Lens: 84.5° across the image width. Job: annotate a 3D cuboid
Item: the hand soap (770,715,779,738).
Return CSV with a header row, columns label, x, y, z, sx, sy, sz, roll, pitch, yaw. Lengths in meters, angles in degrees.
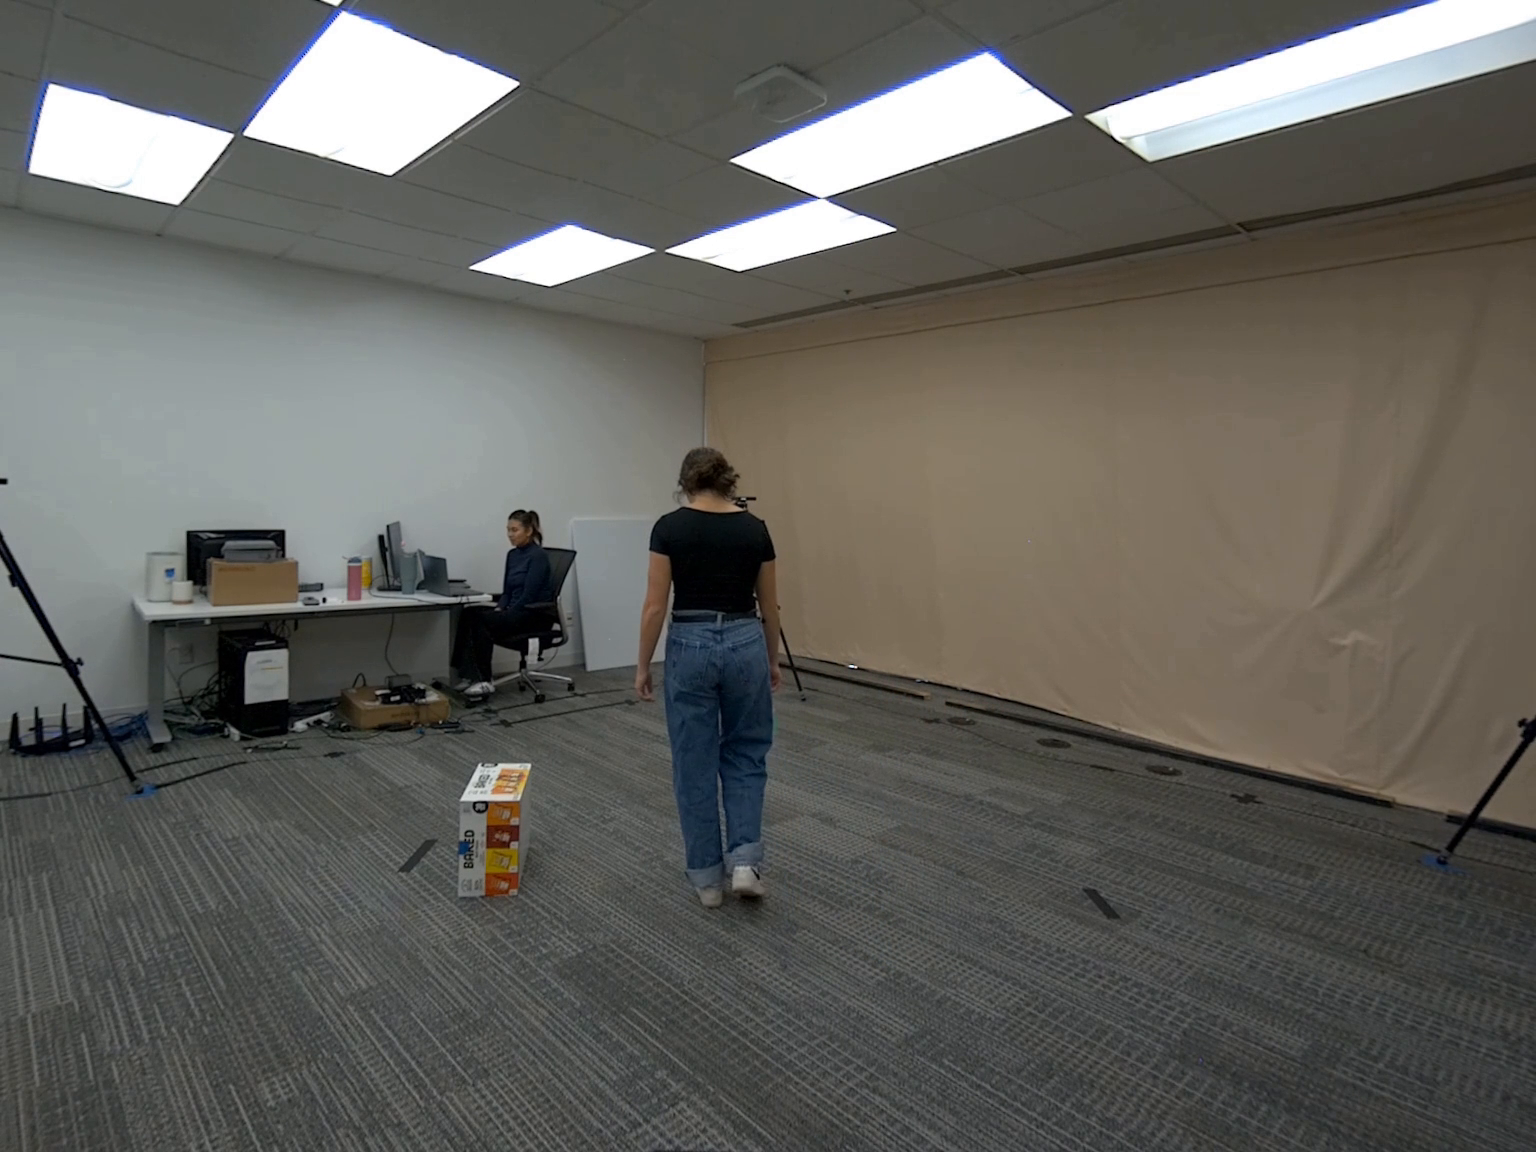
label,x,y,z,sx,sy,sz,roll,pitch,yaw
hand soap,-0.001,0.507,3.100,0.042,0.167,0.086,-13,9,-35
